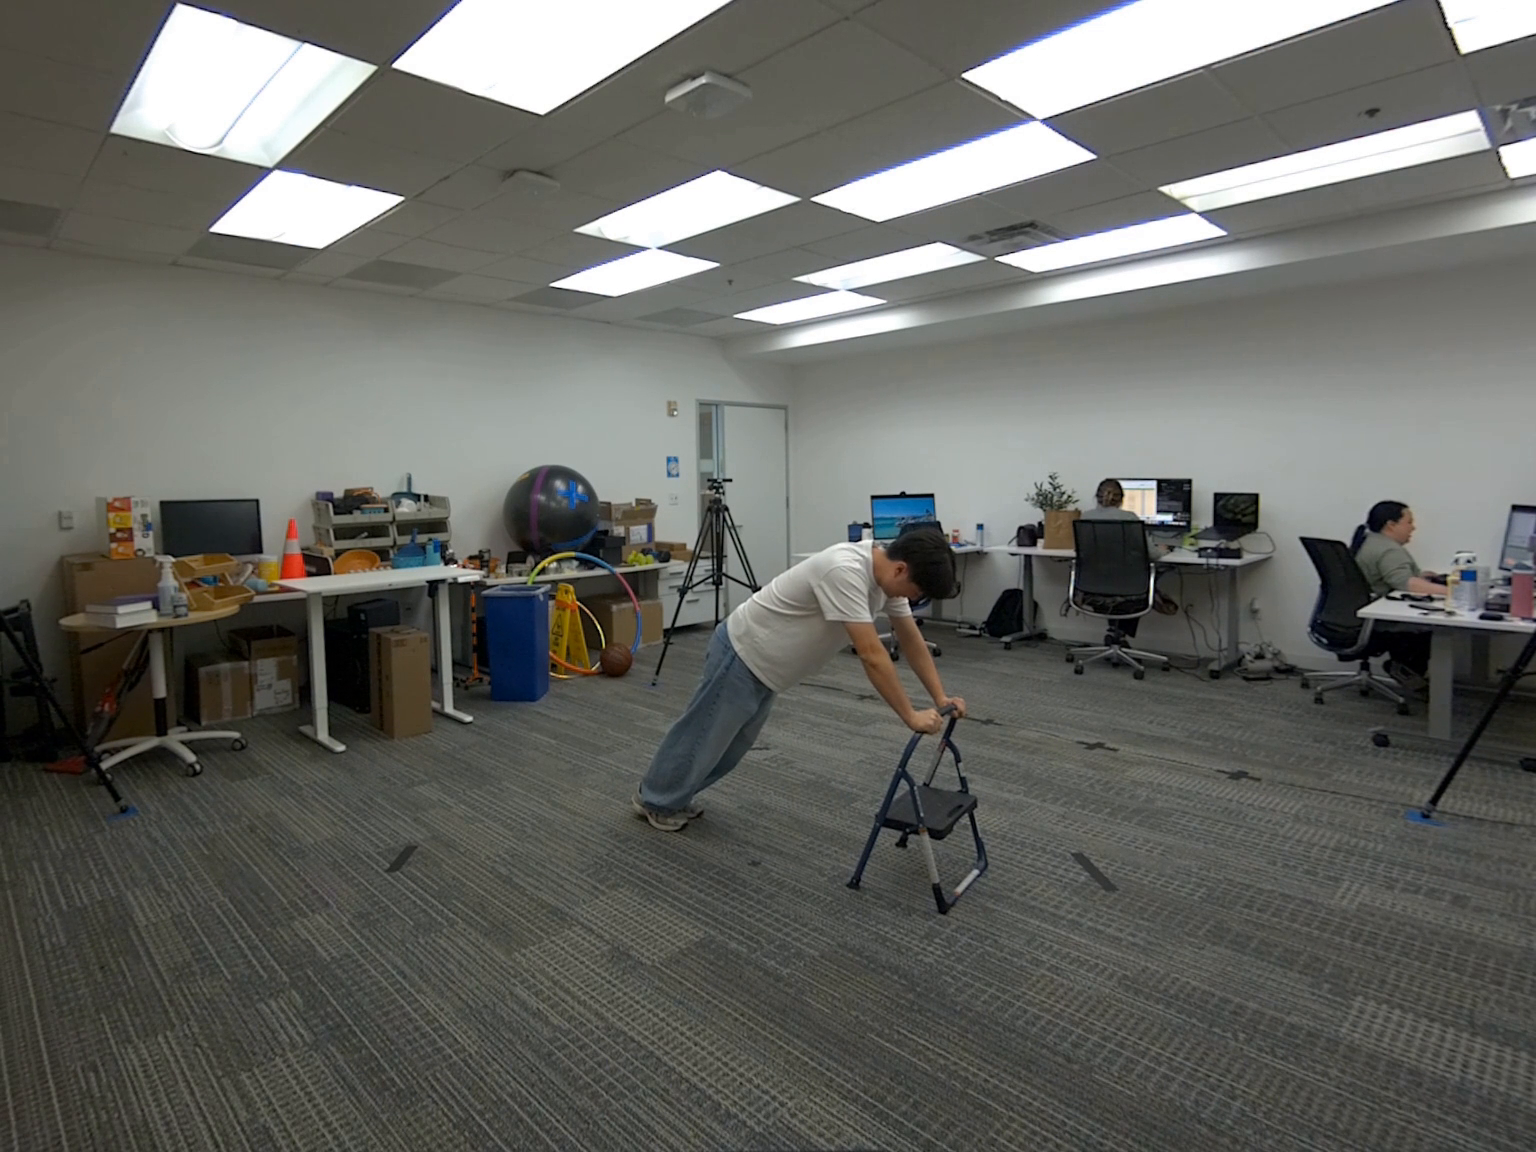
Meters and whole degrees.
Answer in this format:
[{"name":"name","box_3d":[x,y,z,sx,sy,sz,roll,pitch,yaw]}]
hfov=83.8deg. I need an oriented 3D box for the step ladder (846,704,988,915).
[{"name":"step ladder","box_3d":[0.533,0.749,2.957,0.359,0.604,0.420,3,6,33]}]
